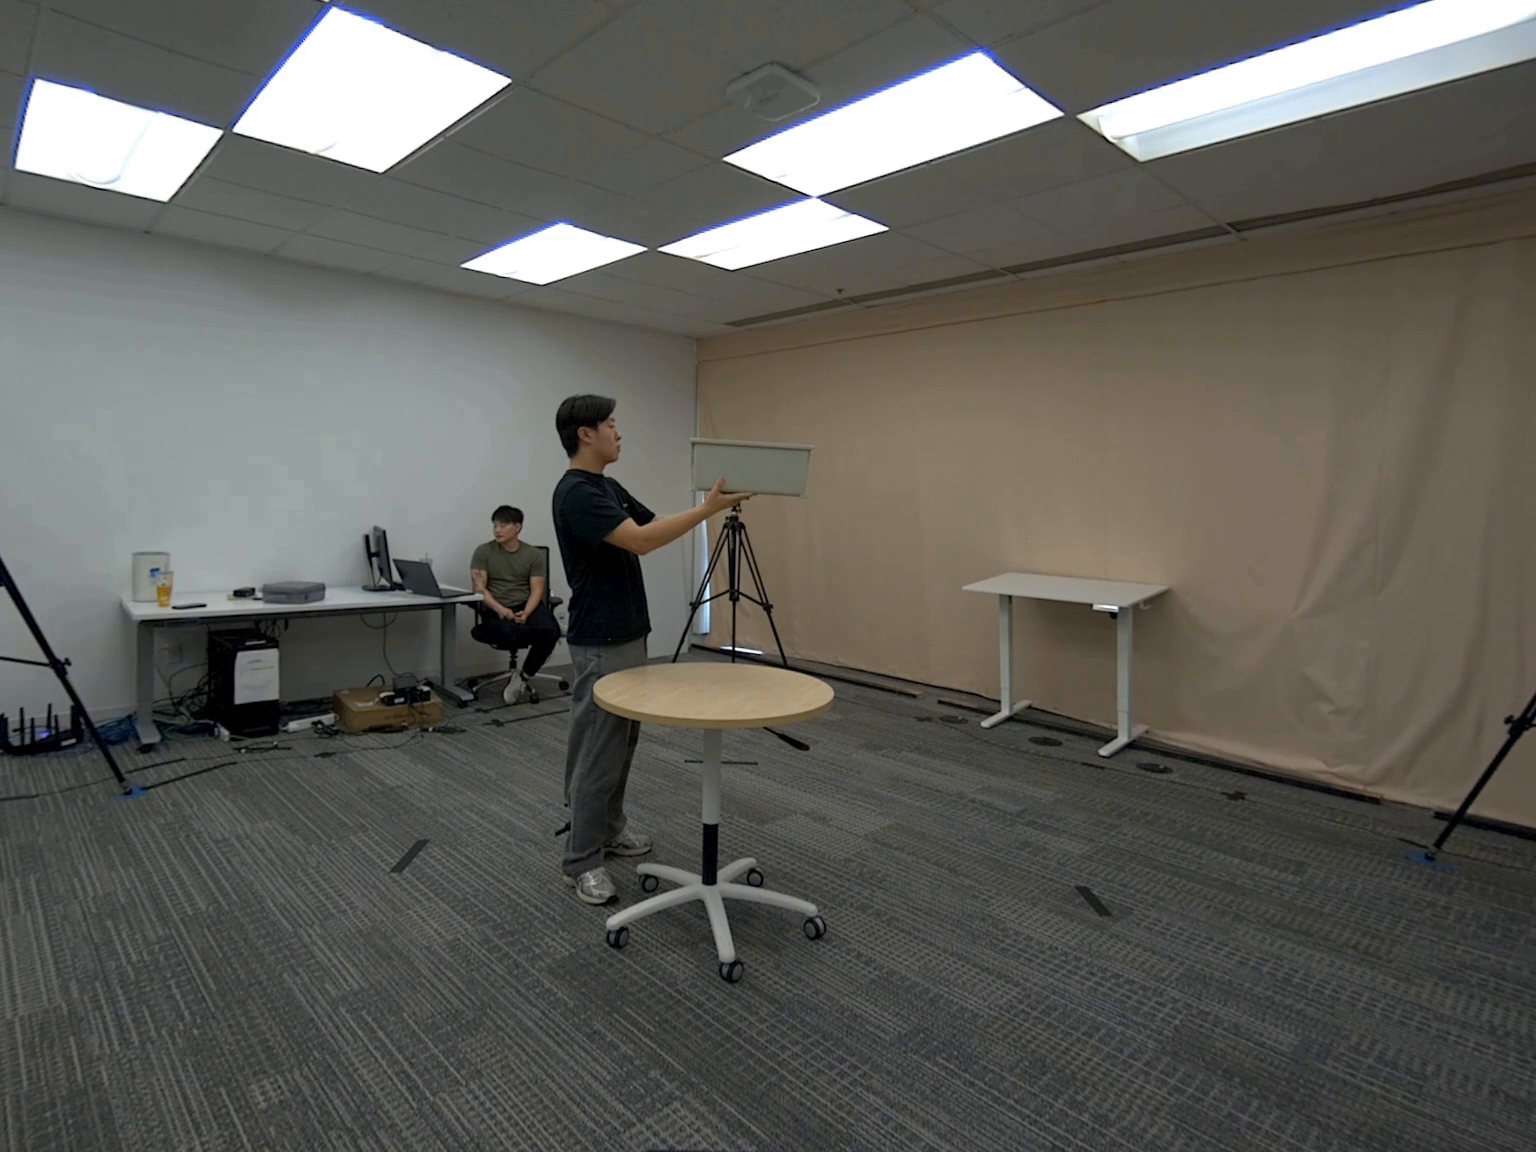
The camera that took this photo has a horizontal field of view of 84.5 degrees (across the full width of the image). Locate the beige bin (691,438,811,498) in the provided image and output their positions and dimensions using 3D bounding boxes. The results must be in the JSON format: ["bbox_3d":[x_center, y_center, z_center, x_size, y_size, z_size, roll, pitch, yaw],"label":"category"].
[{"bbox_3d":[-0.081,-0.390,3.041,0.421,0.188,0.380,4,7,-3],"label":"beige bin"}]
